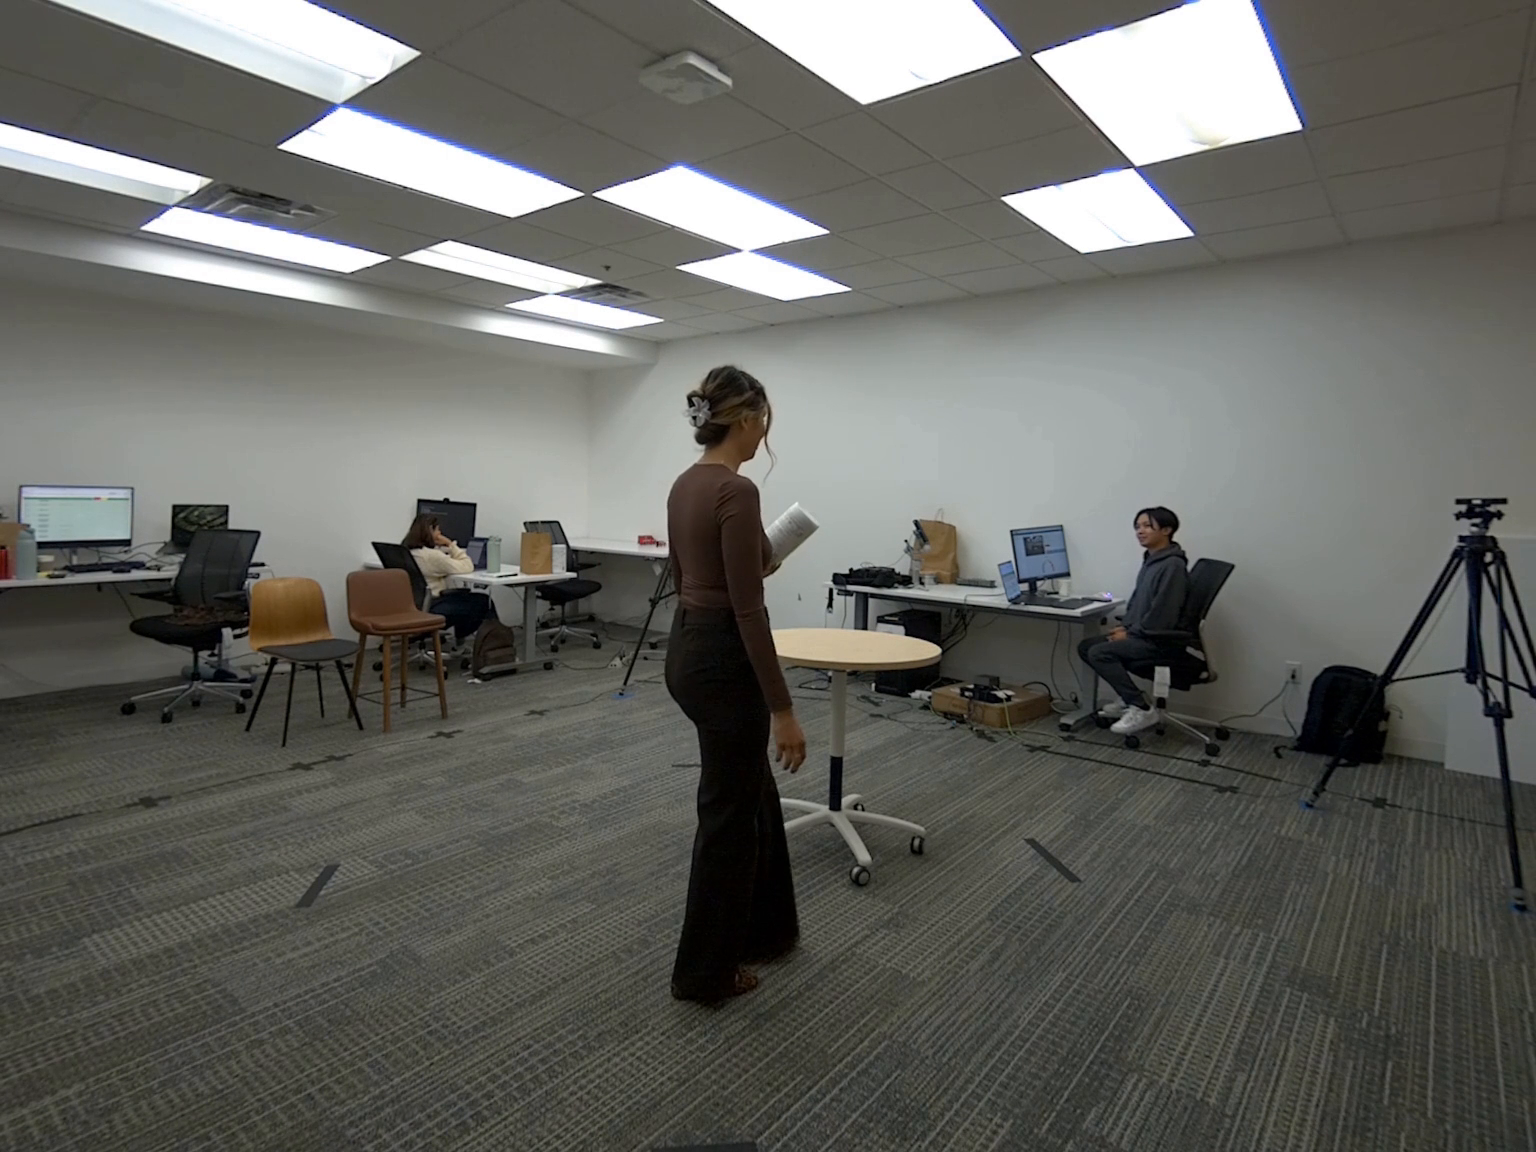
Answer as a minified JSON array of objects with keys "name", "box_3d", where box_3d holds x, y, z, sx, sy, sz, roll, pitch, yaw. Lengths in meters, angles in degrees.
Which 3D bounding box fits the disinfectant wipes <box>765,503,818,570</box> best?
[{"name":"disinfectant wipes","box_3d":[0.045,-0.126,2.705,0.116,0.217,0.119,44,10,-12]}]
